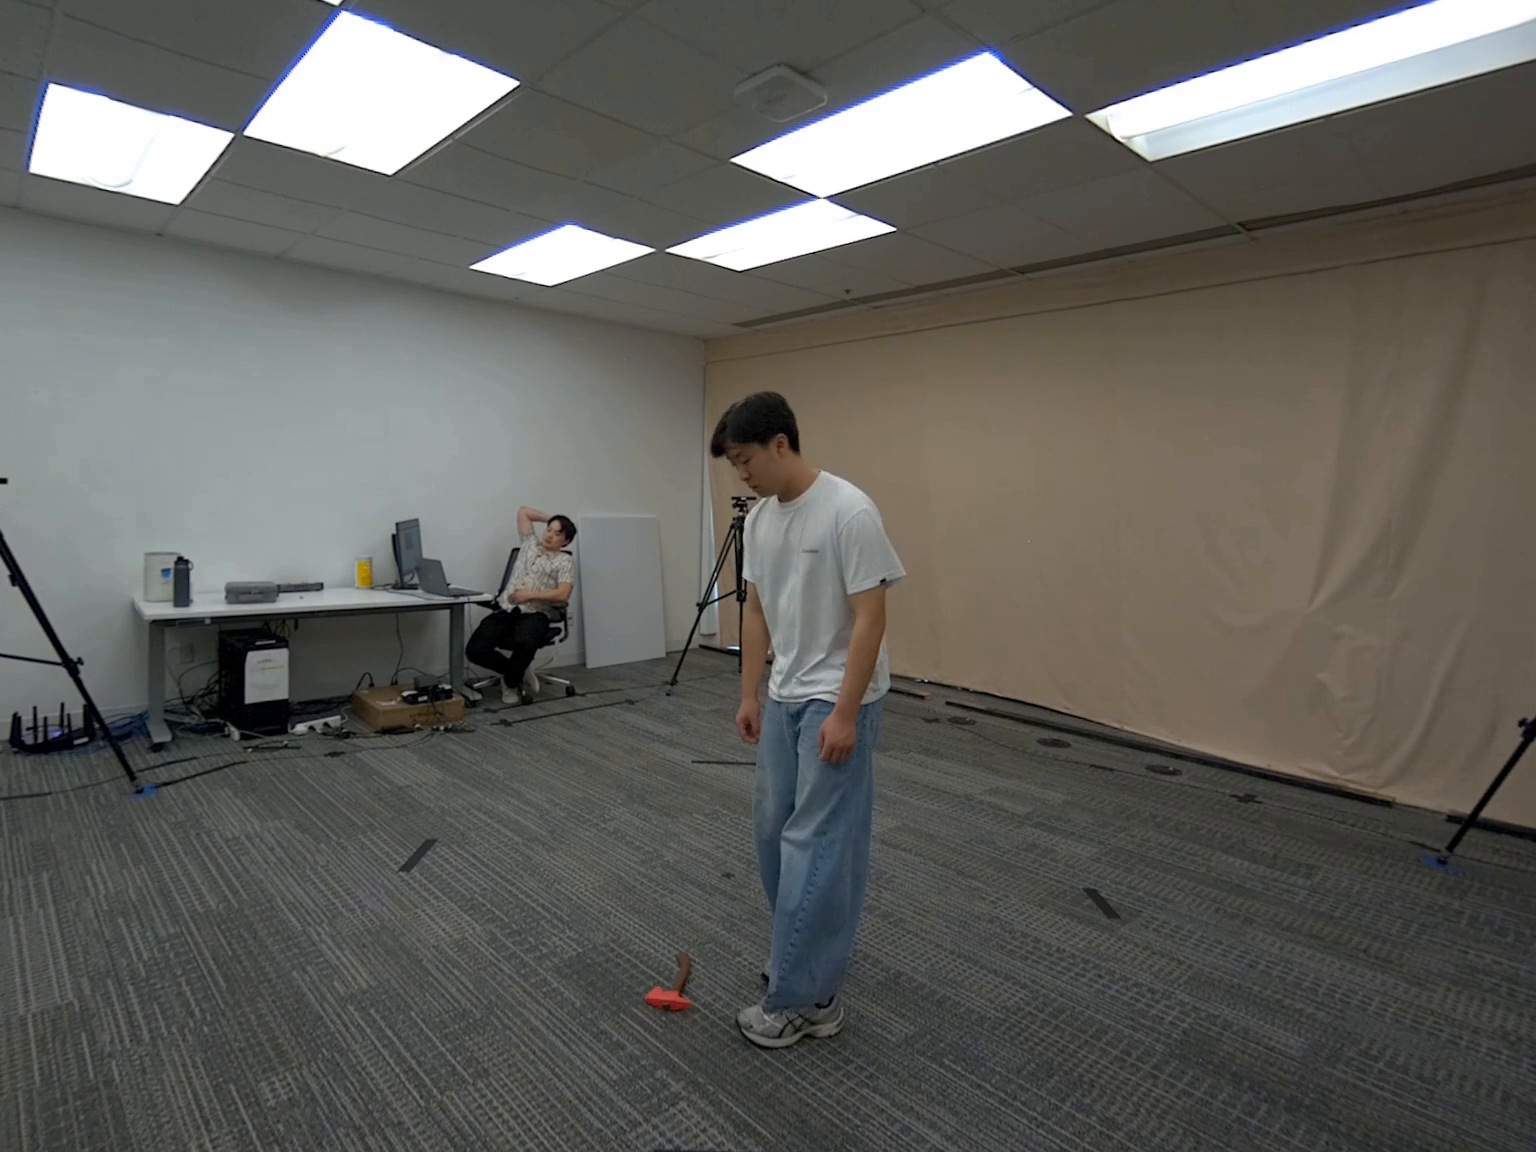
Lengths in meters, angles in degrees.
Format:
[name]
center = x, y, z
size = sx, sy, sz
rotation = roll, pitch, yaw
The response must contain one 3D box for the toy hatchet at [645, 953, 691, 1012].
[toy hatchet]
center = -0.290, 1.154, 2.404
size = 0.130, 0.029, 0.271
rotation = -3, 3, -6
